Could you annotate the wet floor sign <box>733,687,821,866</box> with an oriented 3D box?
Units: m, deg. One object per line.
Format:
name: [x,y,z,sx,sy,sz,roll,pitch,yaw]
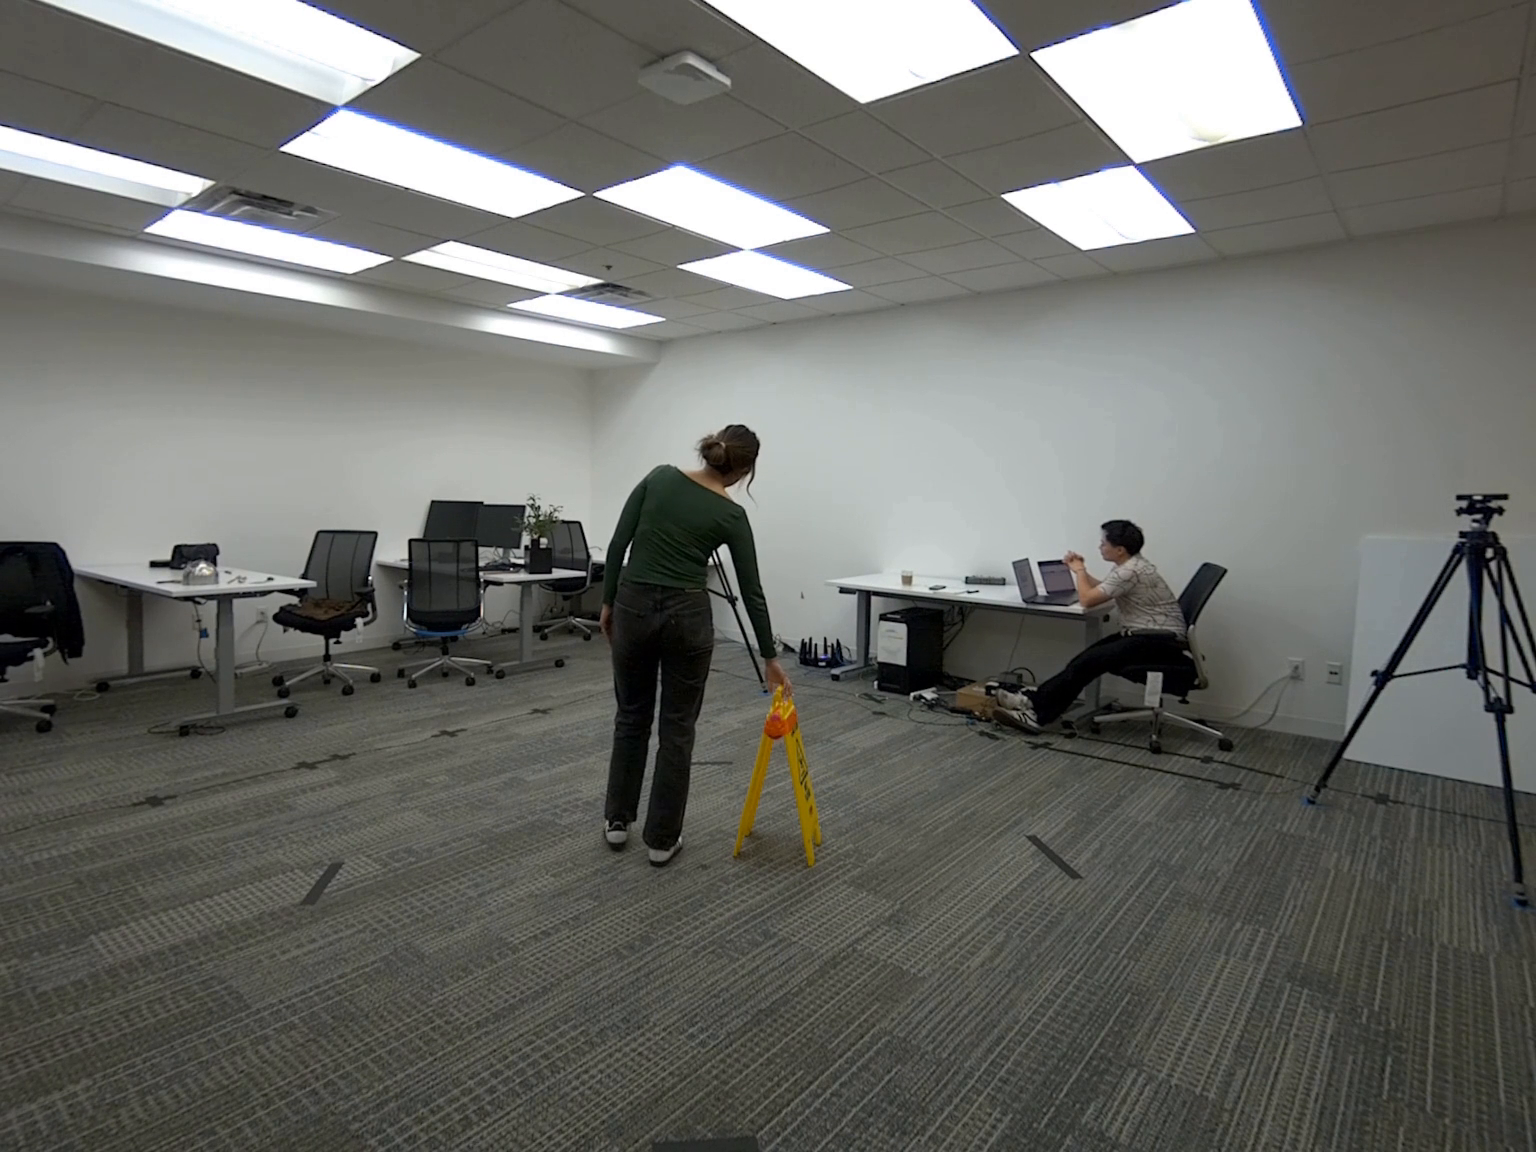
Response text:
wet floor sign: [0.036,0.734,3.283,0.294,0.645,0.278,1,1,14]
